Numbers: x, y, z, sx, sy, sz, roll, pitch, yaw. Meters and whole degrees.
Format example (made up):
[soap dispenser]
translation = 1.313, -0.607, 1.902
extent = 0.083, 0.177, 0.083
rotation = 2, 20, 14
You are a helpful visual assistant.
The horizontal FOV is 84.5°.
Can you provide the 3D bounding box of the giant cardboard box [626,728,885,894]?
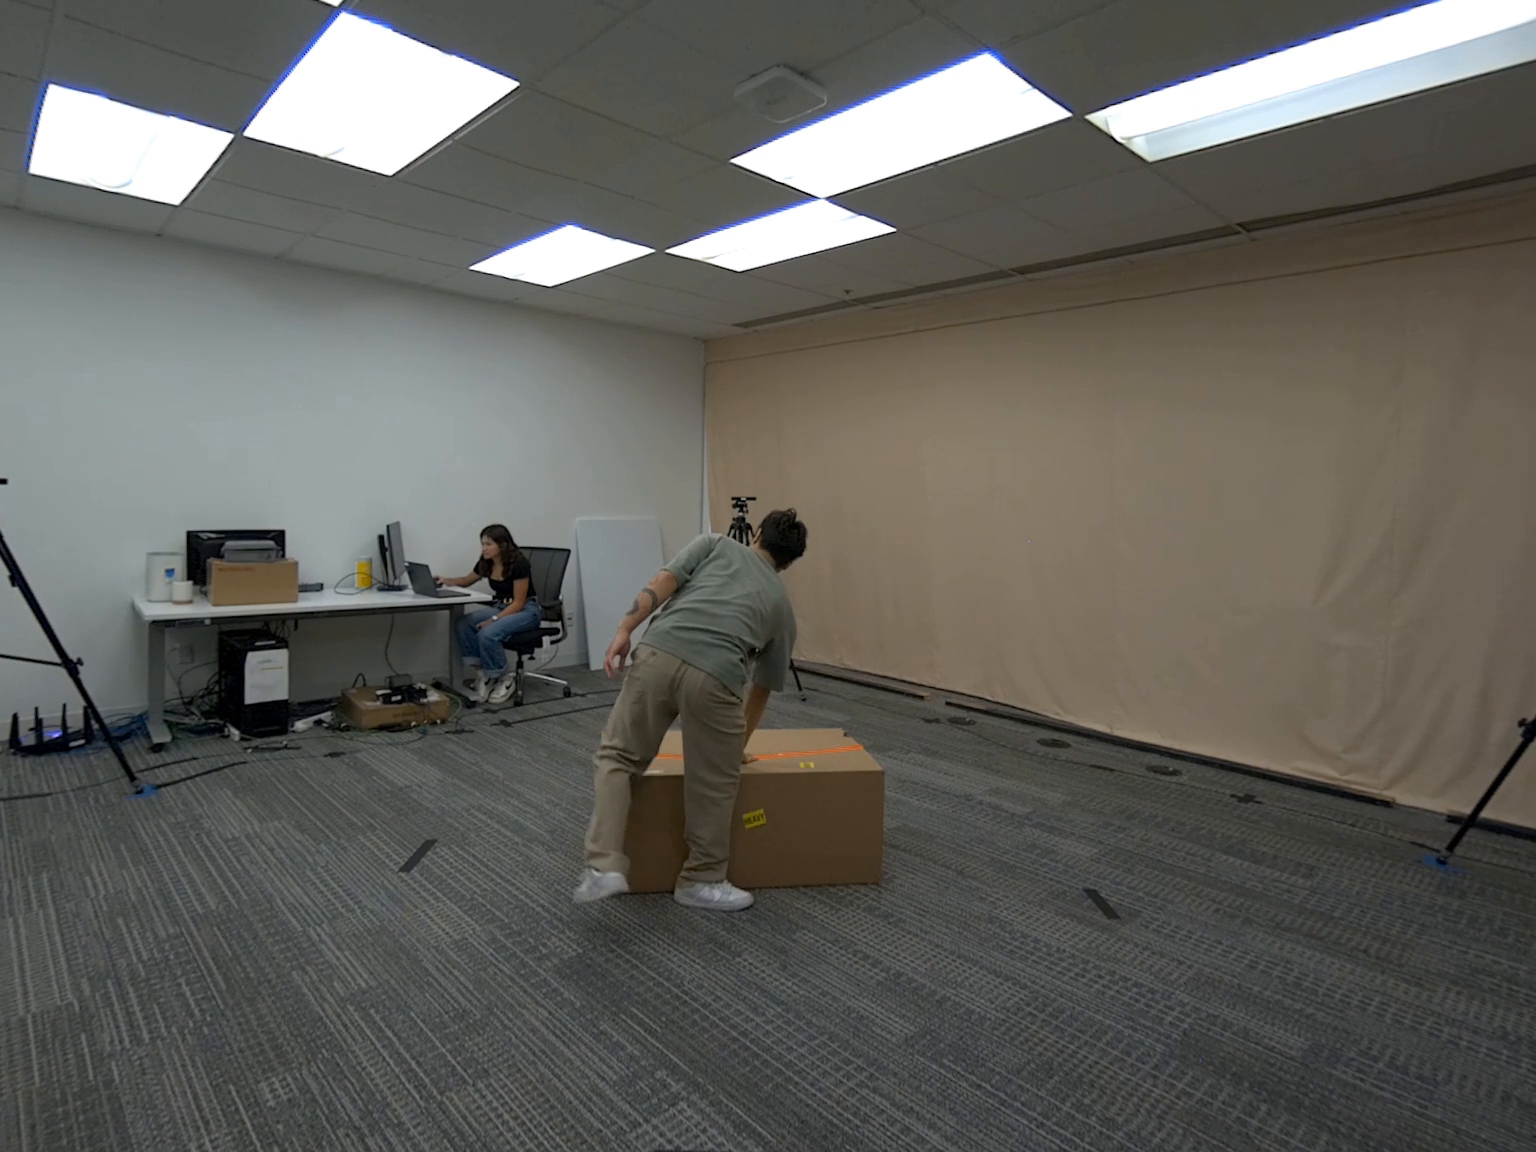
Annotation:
[giant cardboard box]
translation = -0.141, 0.880, 3.270
extent = 1.018, 0.425, 0.583
rotation = 1, 5, -9
